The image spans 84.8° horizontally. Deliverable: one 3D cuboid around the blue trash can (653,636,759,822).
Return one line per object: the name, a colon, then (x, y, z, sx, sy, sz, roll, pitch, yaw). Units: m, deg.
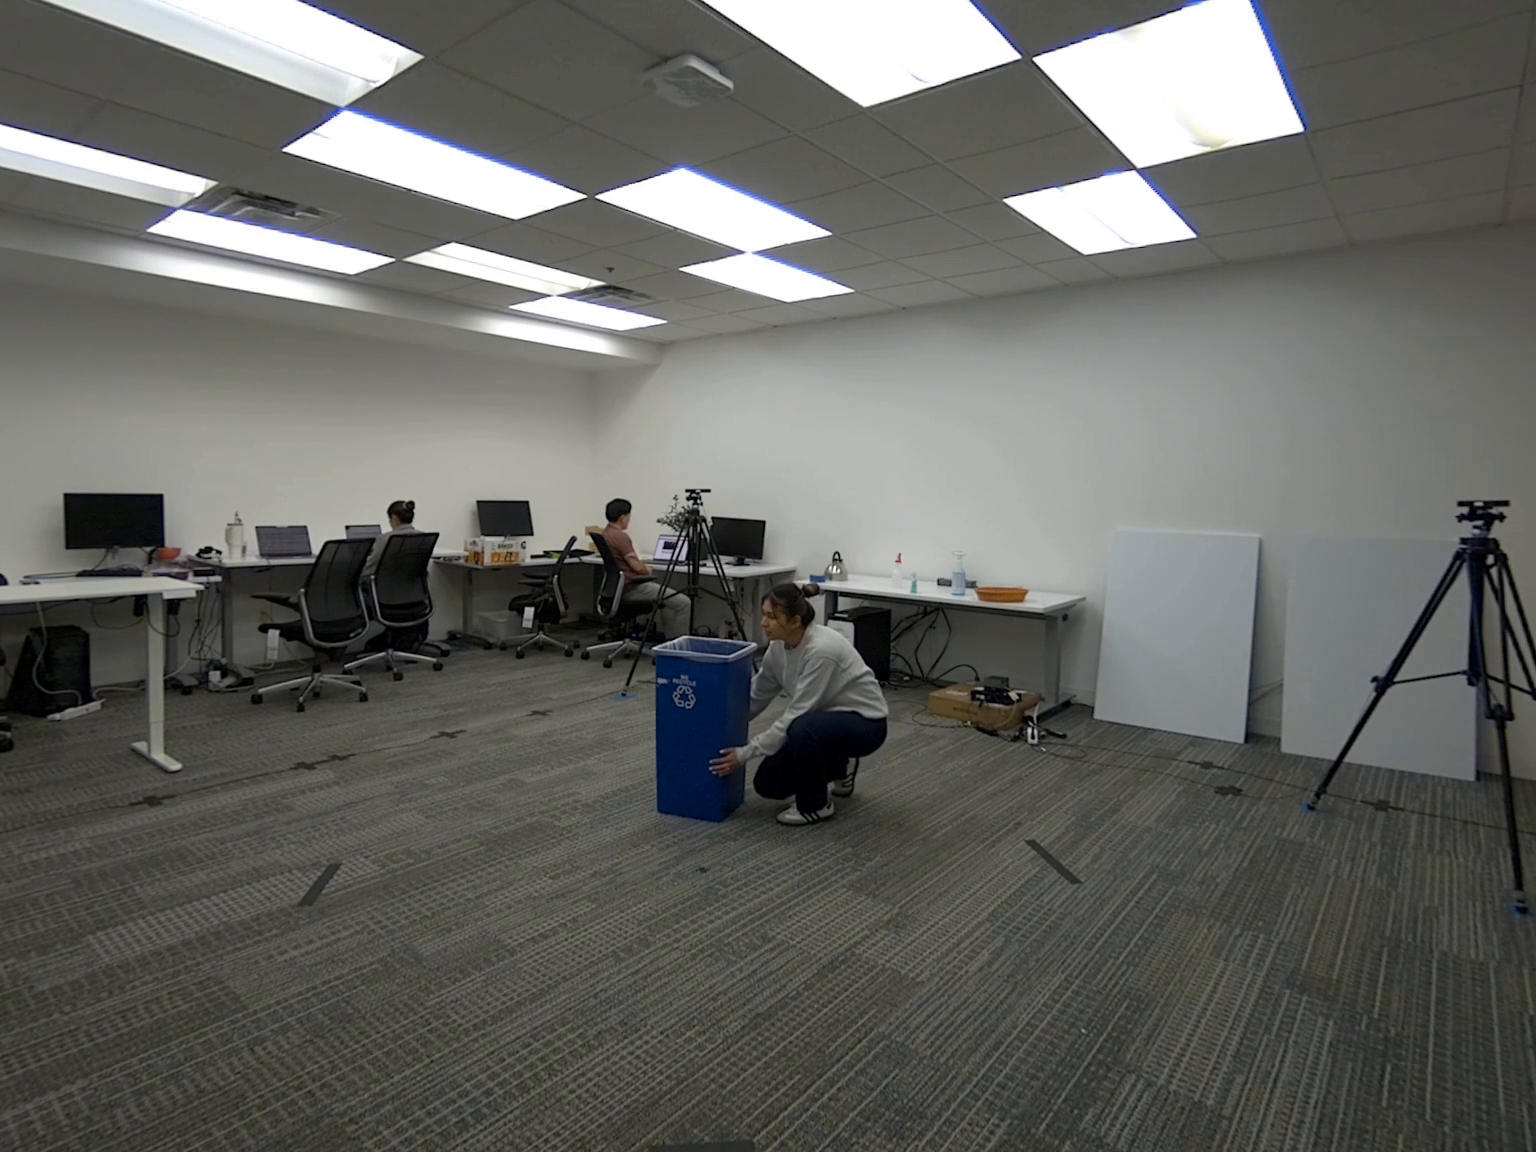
blue trash can: (-0.287, 0.655, 3.734, 0.382, 0.711, 0.371, 2, 4, 20)
